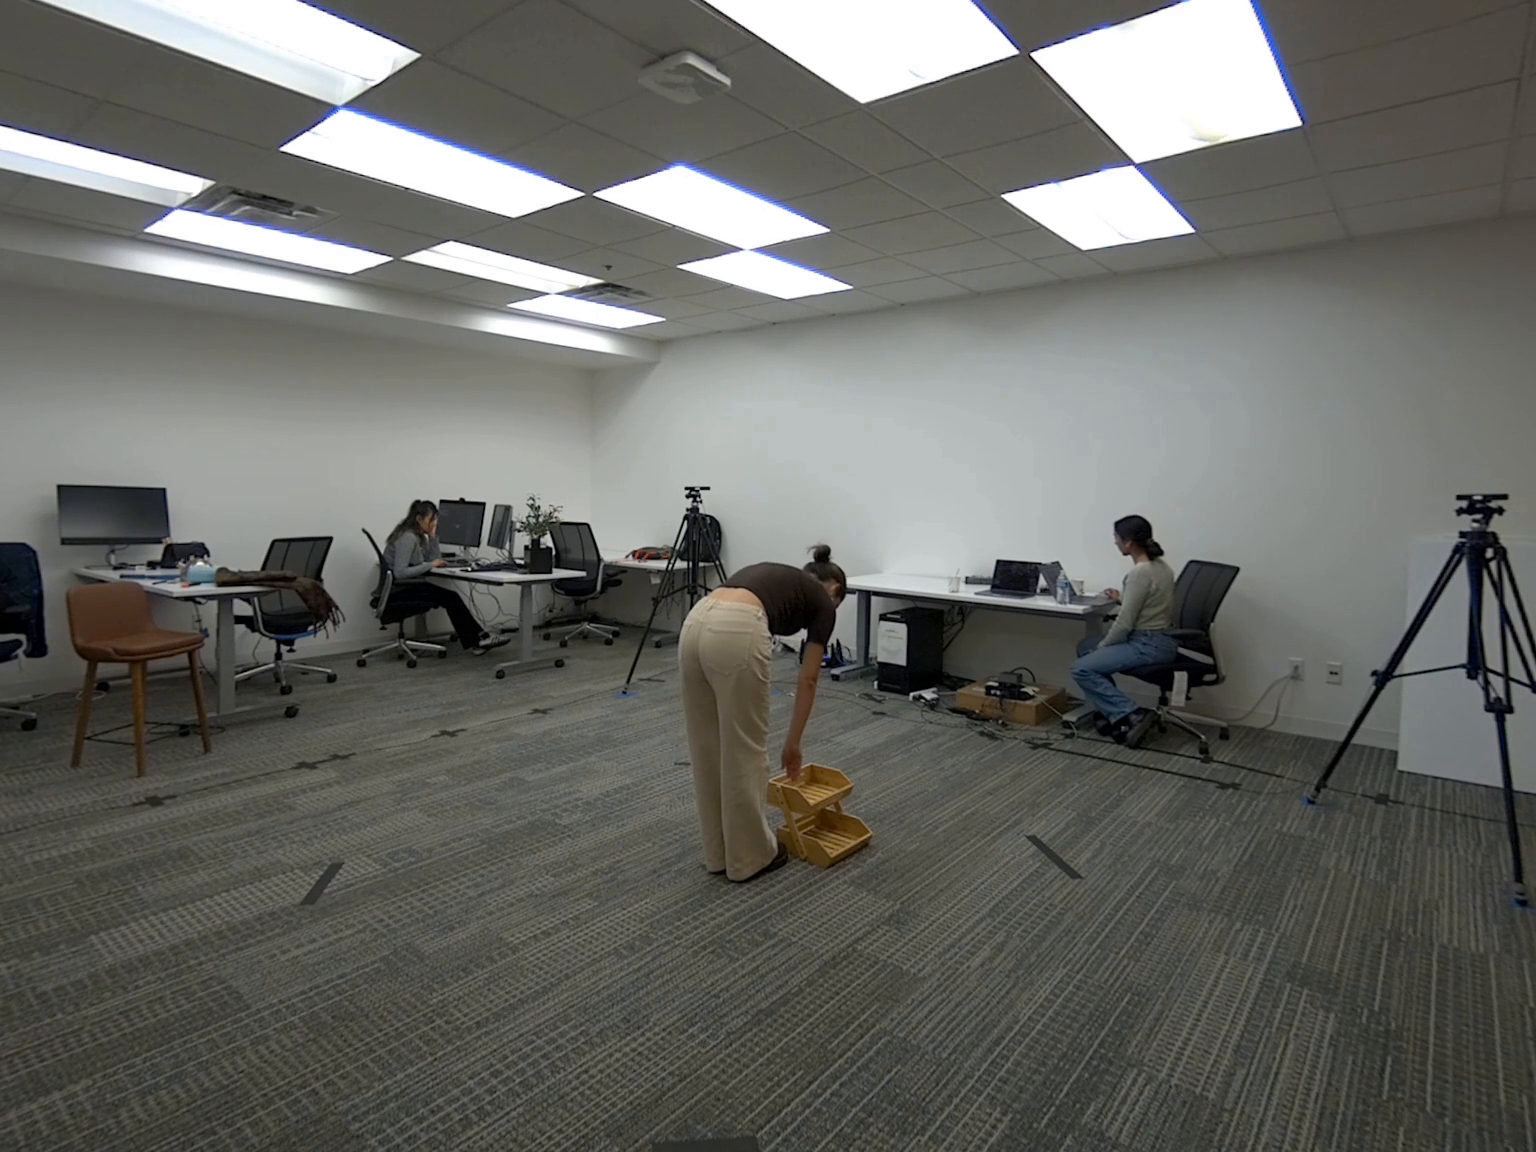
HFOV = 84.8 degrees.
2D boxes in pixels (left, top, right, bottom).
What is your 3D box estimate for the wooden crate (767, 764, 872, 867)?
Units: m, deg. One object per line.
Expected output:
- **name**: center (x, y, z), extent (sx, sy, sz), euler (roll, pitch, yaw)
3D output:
- **wooden crate**: center (0.195, 0.915, 3.313), extent (0.312, 0.272, 0.315), euler (3, 5, 39)
